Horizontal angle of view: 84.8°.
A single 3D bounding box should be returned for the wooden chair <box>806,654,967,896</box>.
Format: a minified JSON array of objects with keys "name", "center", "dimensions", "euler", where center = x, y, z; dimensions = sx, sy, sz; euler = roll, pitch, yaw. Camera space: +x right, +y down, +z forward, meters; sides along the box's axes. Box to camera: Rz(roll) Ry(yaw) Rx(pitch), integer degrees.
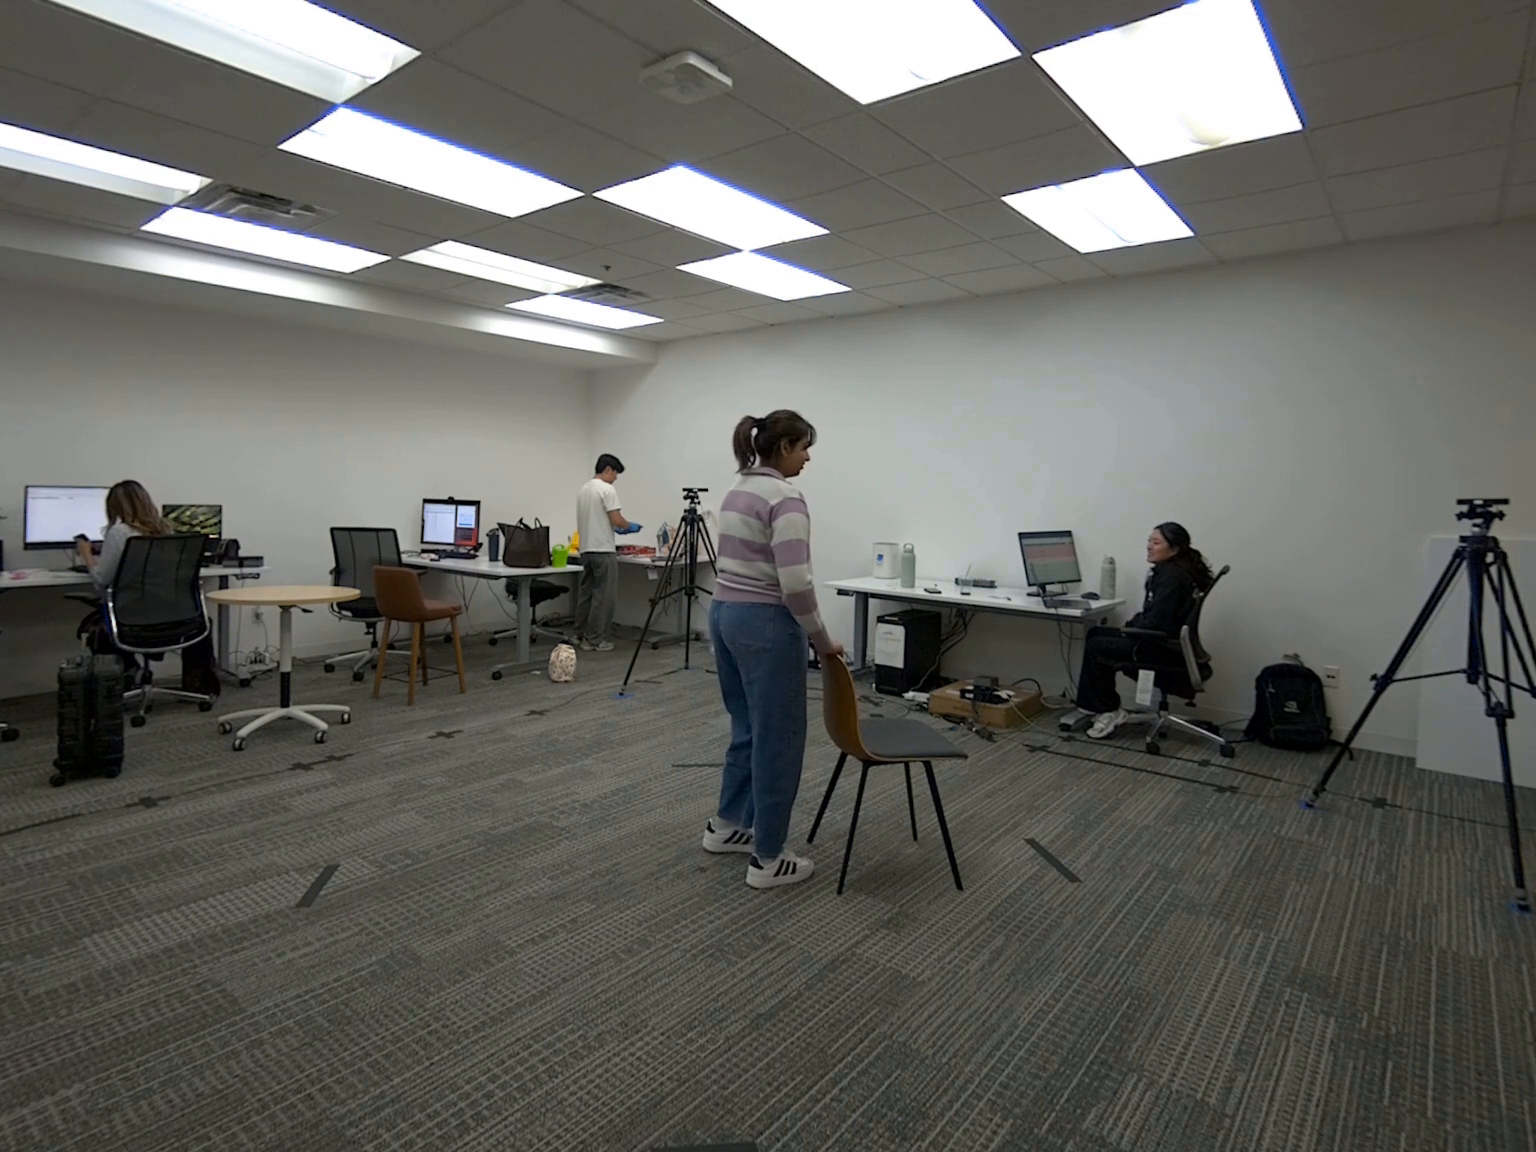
[{"name":"wooden chair","center":[0.437,0.653,3.150],"dimensions":[0.519,0.874,0.484],"euler":[-4,4,-9]}]
